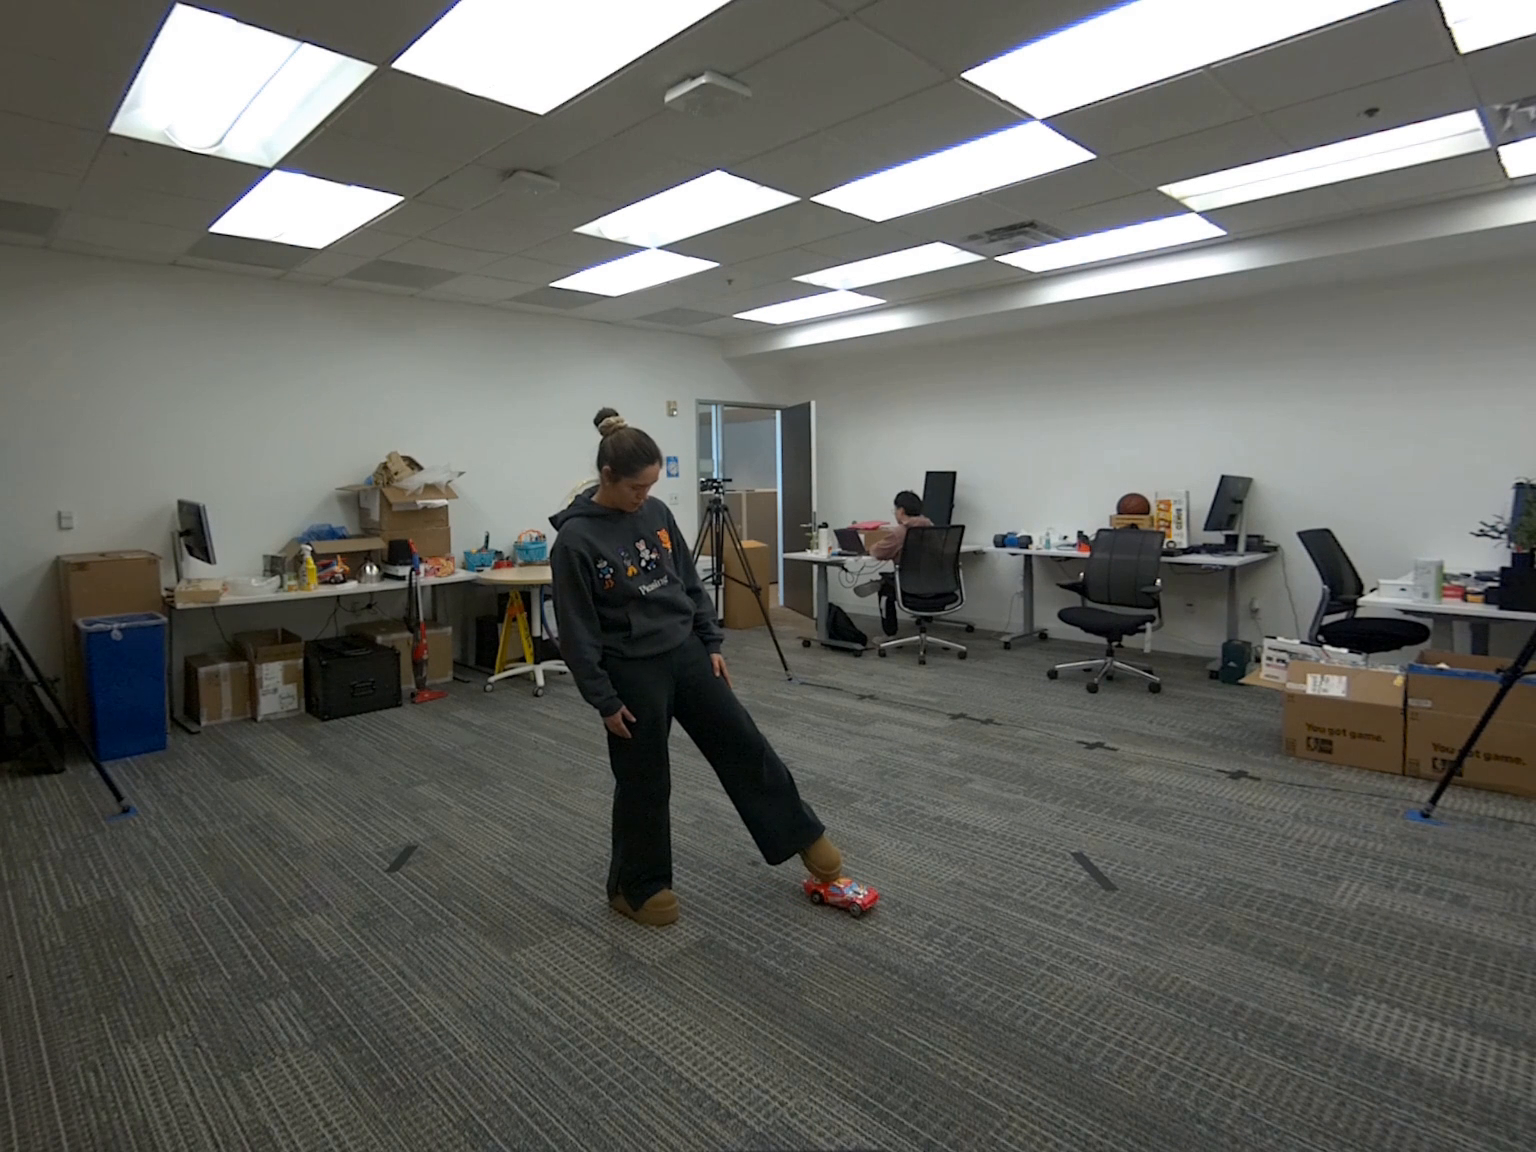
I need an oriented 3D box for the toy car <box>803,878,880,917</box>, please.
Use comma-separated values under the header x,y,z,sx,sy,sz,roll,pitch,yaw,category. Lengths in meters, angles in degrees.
x,y,z,sx,sy,sz,roll,pitch,yaw,category
0.230,1.037,2.791,0.263,0.082,0.127,12,12,39,toy car
